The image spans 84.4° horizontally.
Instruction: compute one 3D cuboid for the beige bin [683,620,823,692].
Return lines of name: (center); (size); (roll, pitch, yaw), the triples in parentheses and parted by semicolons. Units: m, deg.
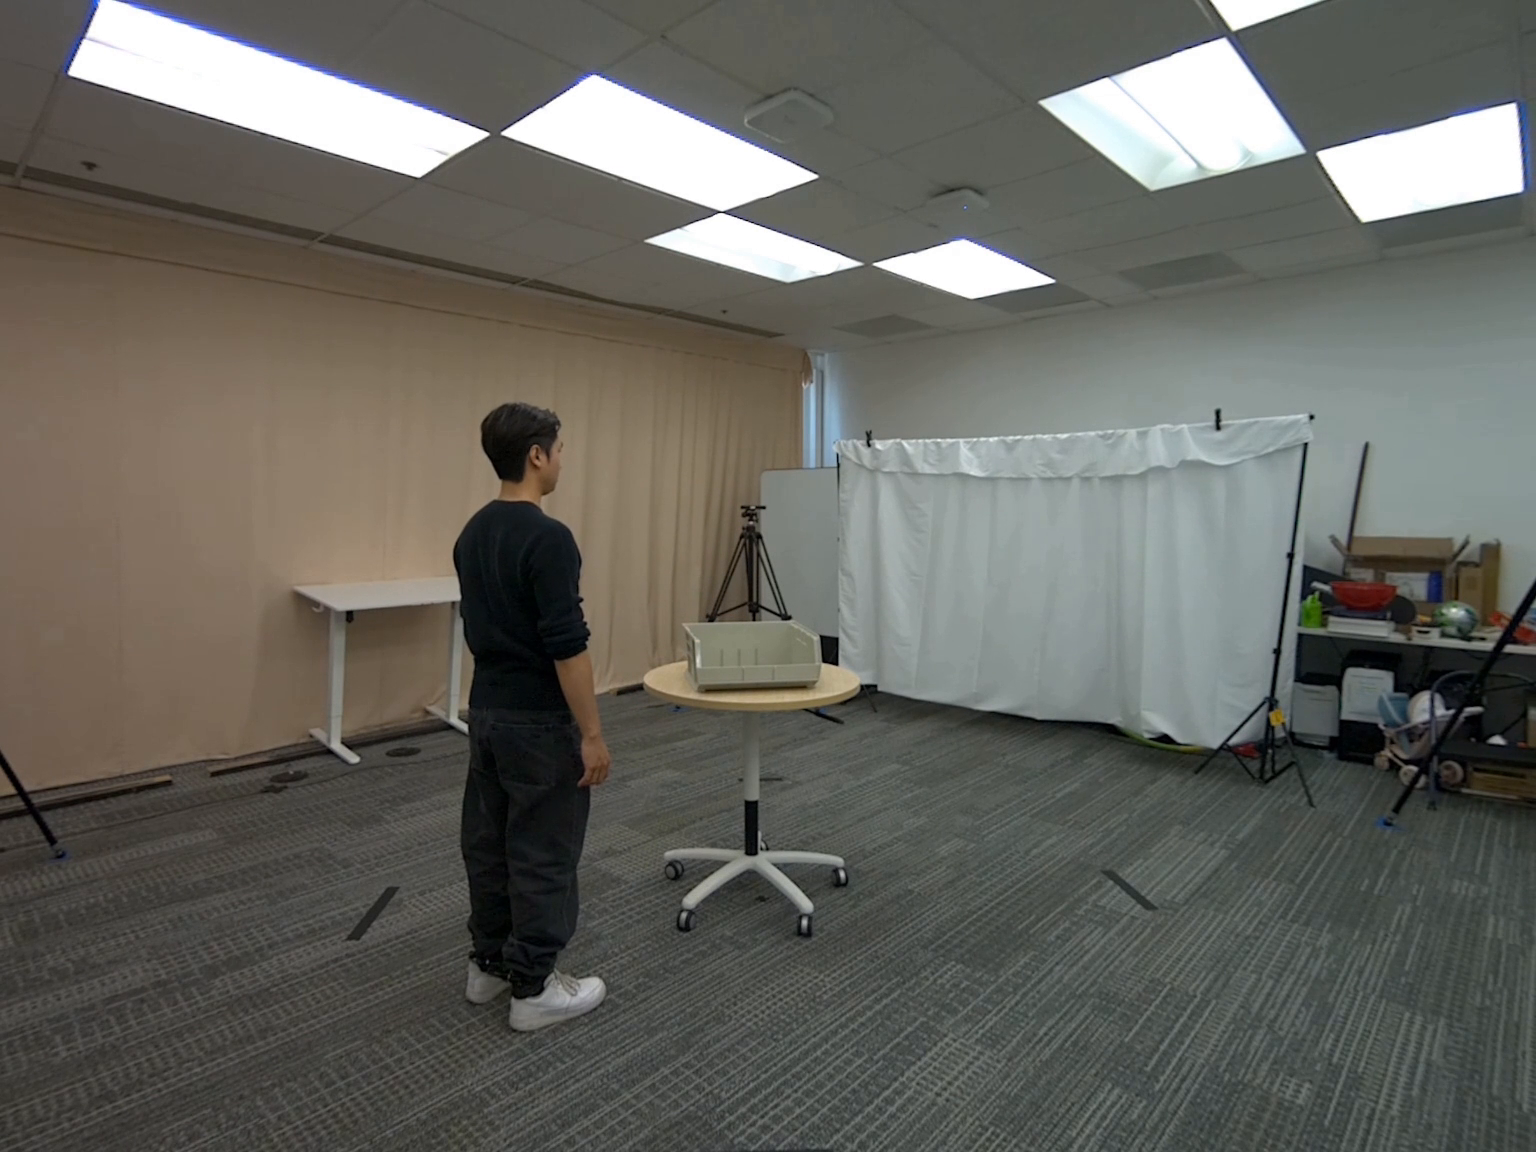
beige bin: (-0.063, 0.277, 2.916); (0.418, 0.188, 0.382); (-1, 4, -11)
